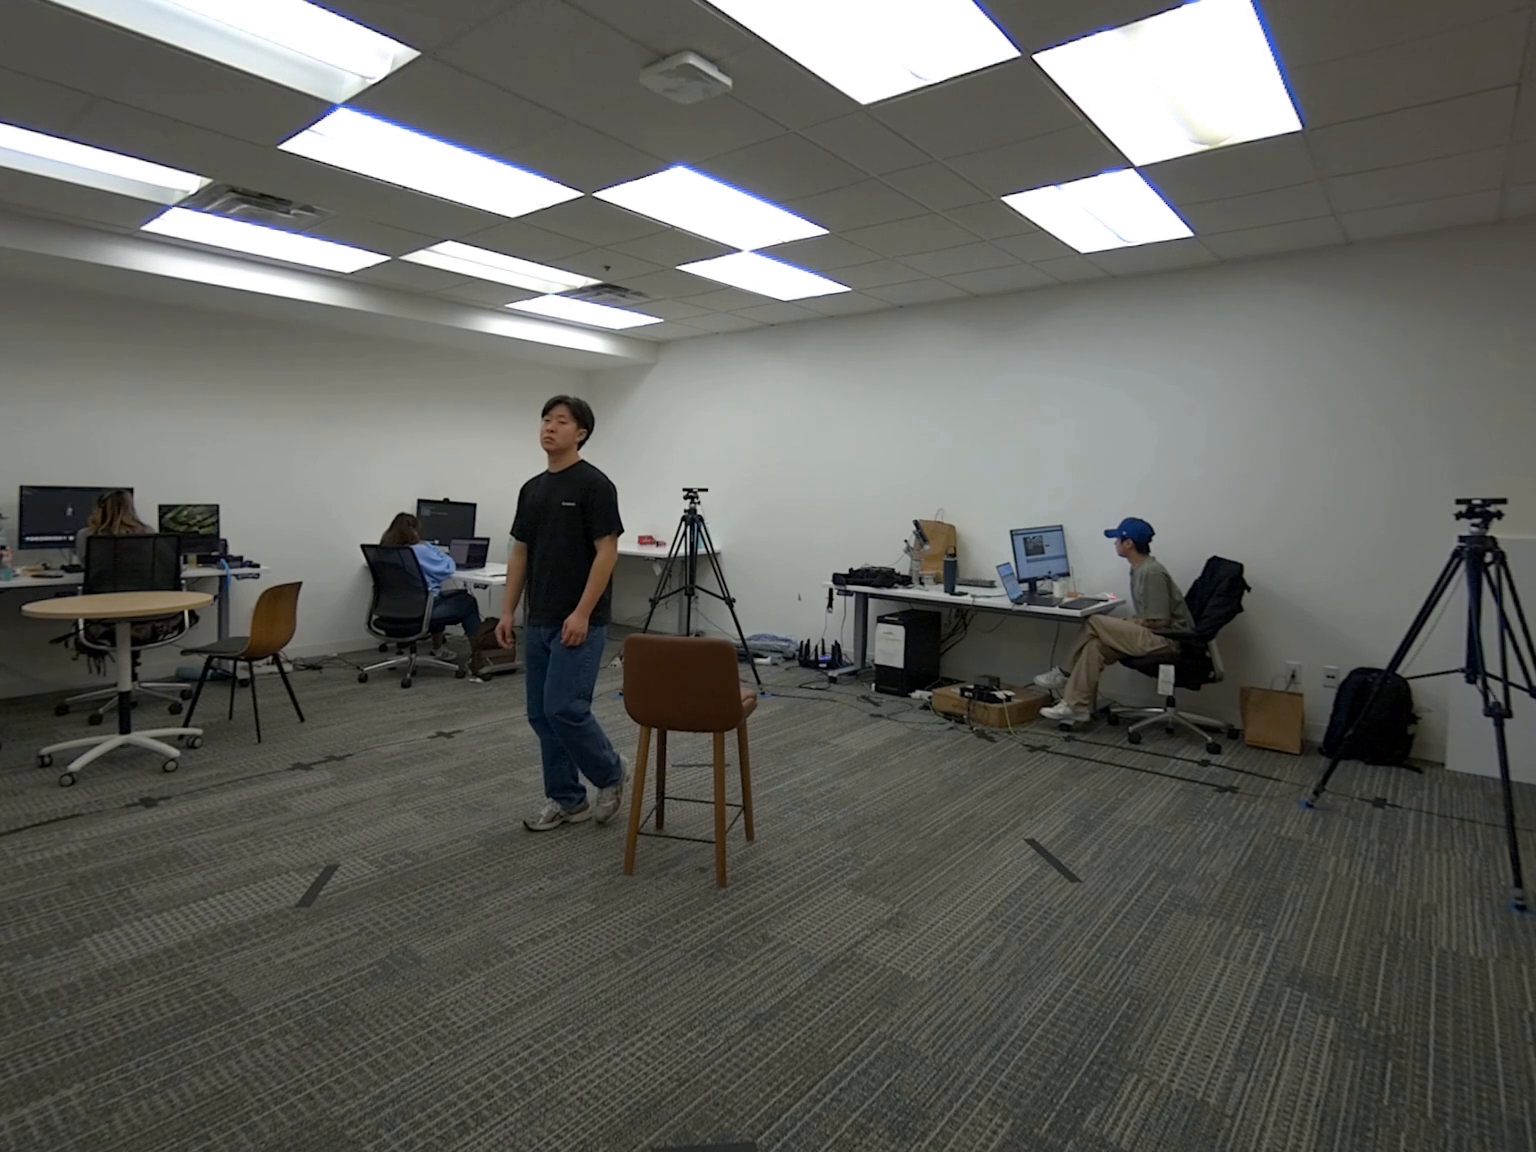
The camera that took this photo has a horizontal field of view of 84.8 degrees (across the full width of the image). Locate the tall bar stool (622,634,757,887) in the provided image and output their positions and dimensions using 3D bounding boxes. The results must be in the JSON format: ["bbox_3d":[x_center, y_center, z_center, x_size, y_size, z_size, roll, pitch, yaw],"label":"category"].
[{"bbox_3d":[-0.299,0.625,3.197,0.464,0.886,0.462,1,4,14],"label":"tall bar stool"}]
